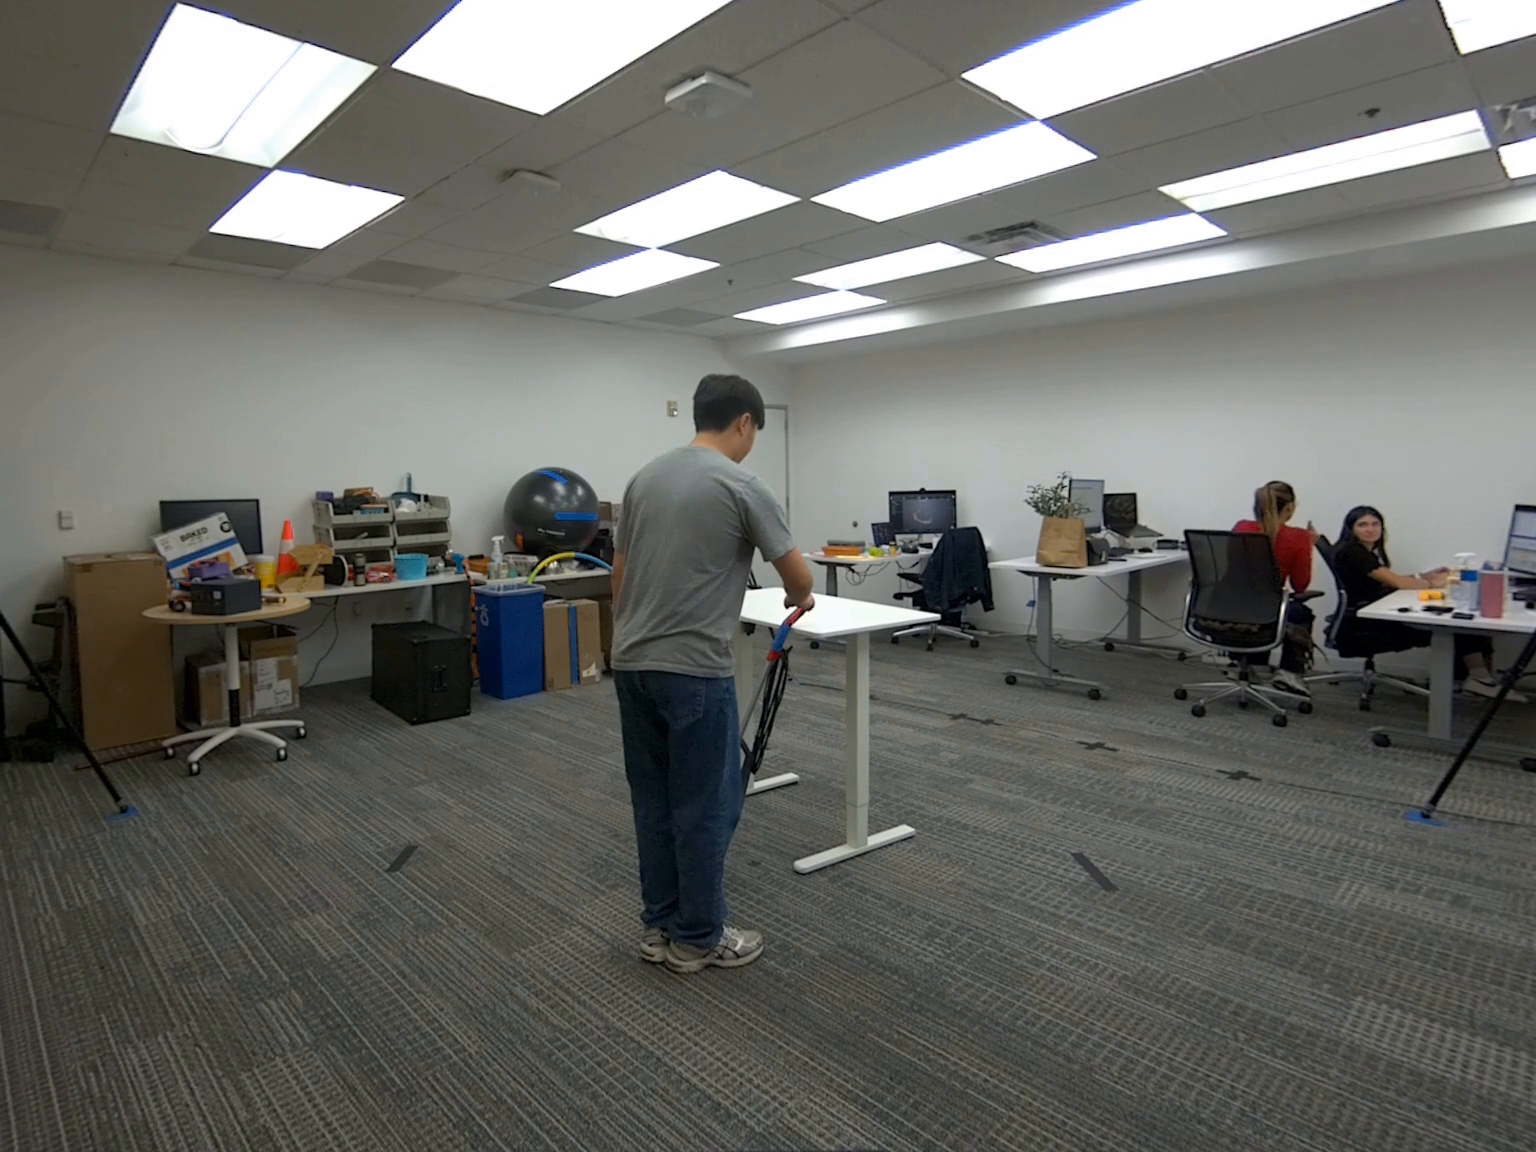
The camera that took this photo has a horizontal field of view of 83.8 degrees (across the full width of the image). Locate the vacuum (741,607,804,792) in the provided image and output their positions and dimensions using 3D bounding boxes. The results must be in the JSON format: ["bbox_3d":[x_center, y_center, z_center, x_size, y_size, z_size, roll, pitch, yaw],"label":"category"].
[{"bbox_3d":[-0.062,0.591,2.933,0.139,1.050,0.261,24,-1,-33],"label":"vacuum"}]
